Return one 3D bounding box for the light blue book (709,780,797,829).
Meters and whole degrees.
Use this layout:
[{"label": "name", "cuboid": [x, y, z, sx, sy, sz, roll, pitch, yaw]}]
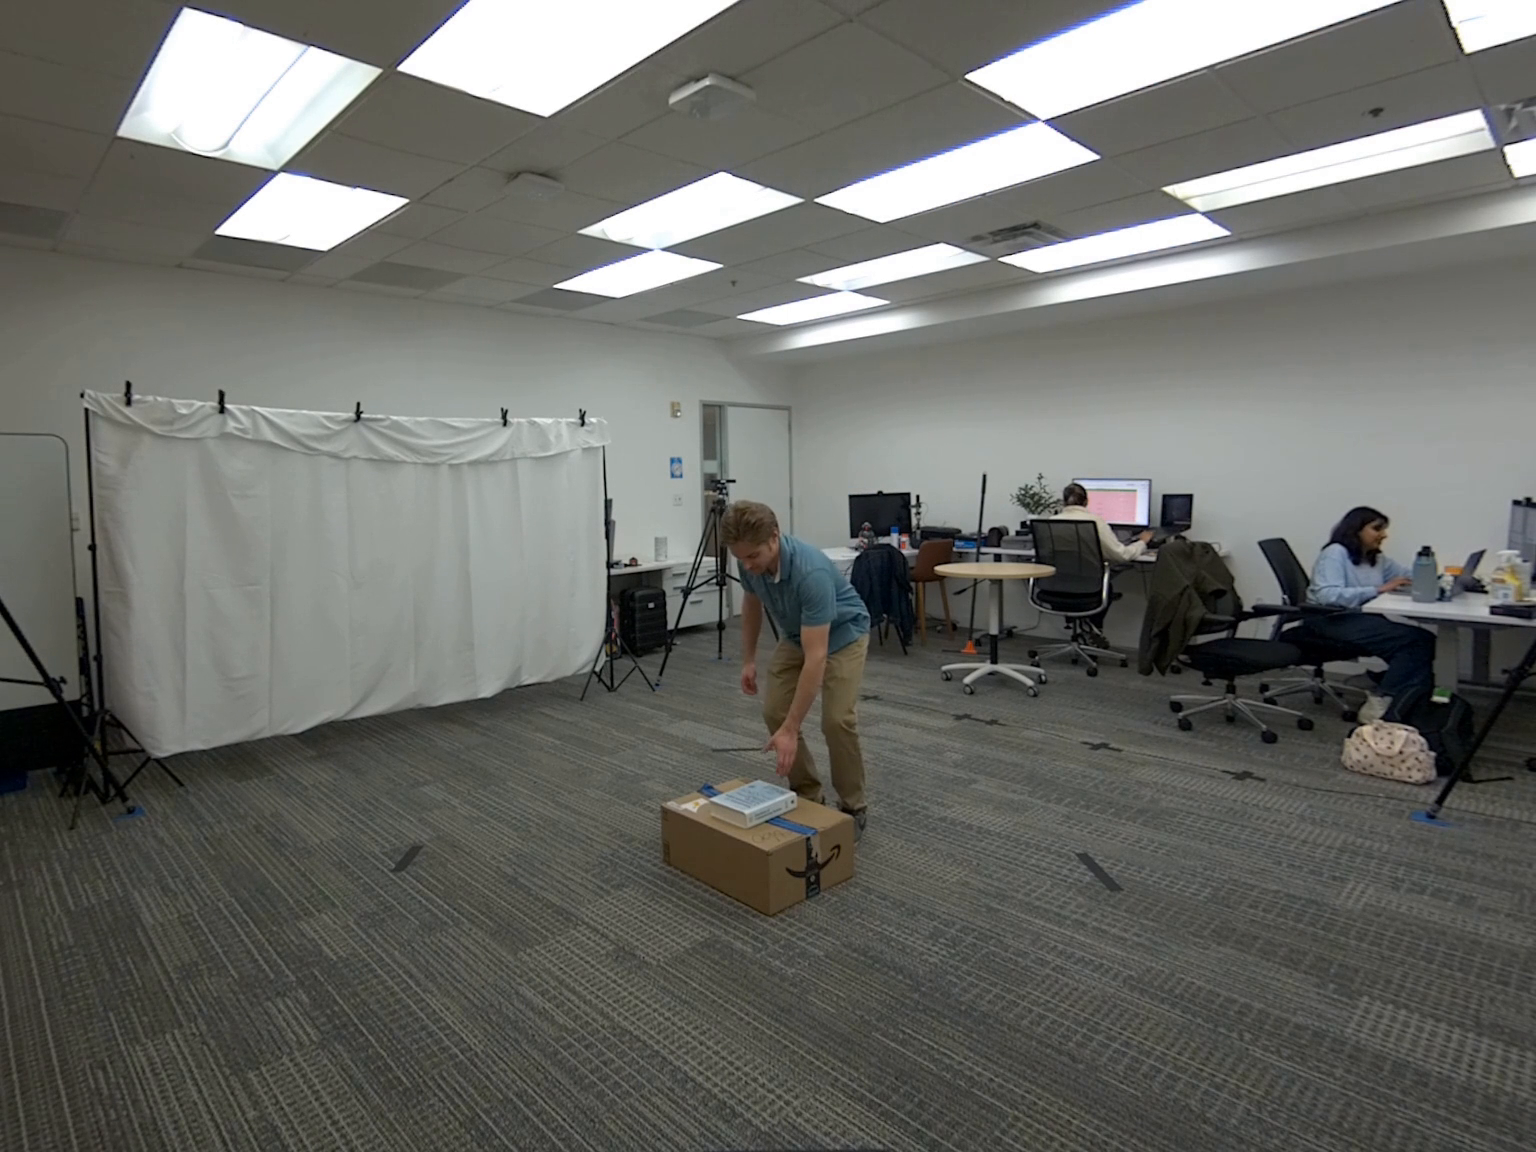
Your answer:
[{"label": "light blue book", "cuboid": [-0.051, 0.810, 3.059, 0.197, 0.059, 0.254, 5, 9, 44]}]
